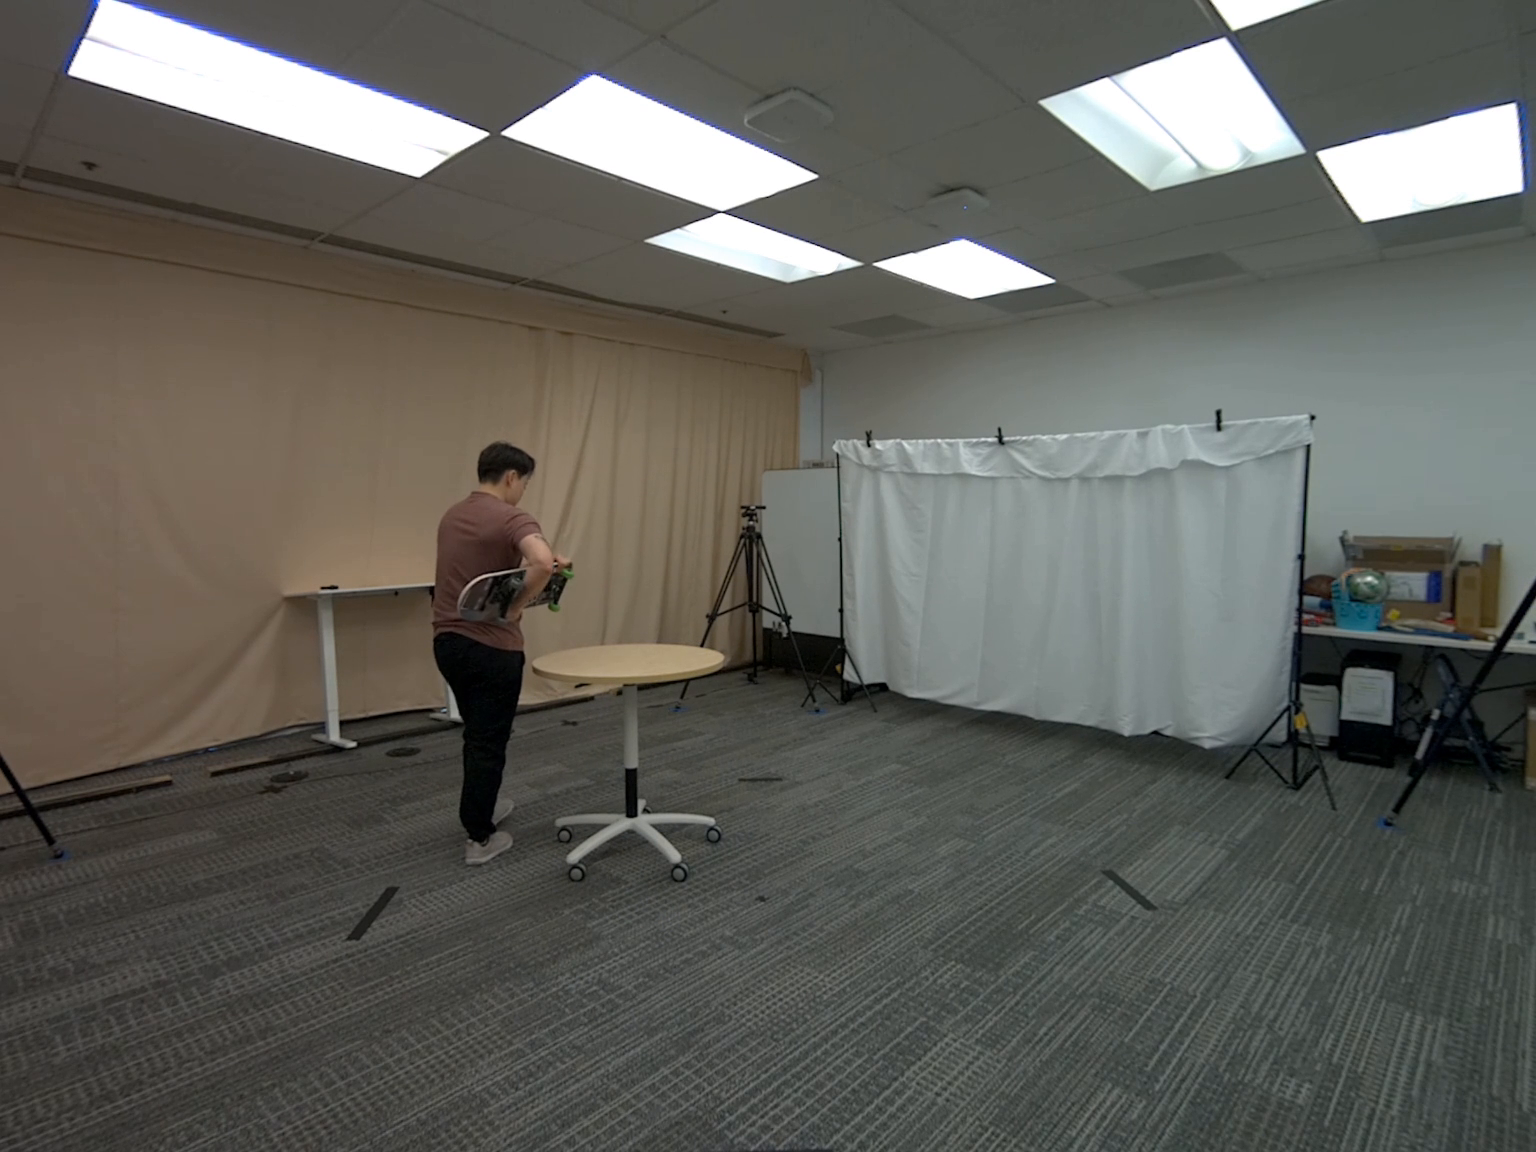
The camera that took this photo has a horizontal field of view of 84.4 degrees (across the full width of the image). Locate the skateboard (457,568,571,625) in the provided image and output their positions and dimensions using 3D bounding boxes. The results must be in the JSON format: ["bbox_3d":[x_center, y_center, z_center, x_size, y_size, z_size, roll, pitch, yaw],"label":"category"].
[{"bbox_3d":[-0.923,0.060,3.309,0.112,0.193,0.773,26,10,11],"label":"skateboard"}]
